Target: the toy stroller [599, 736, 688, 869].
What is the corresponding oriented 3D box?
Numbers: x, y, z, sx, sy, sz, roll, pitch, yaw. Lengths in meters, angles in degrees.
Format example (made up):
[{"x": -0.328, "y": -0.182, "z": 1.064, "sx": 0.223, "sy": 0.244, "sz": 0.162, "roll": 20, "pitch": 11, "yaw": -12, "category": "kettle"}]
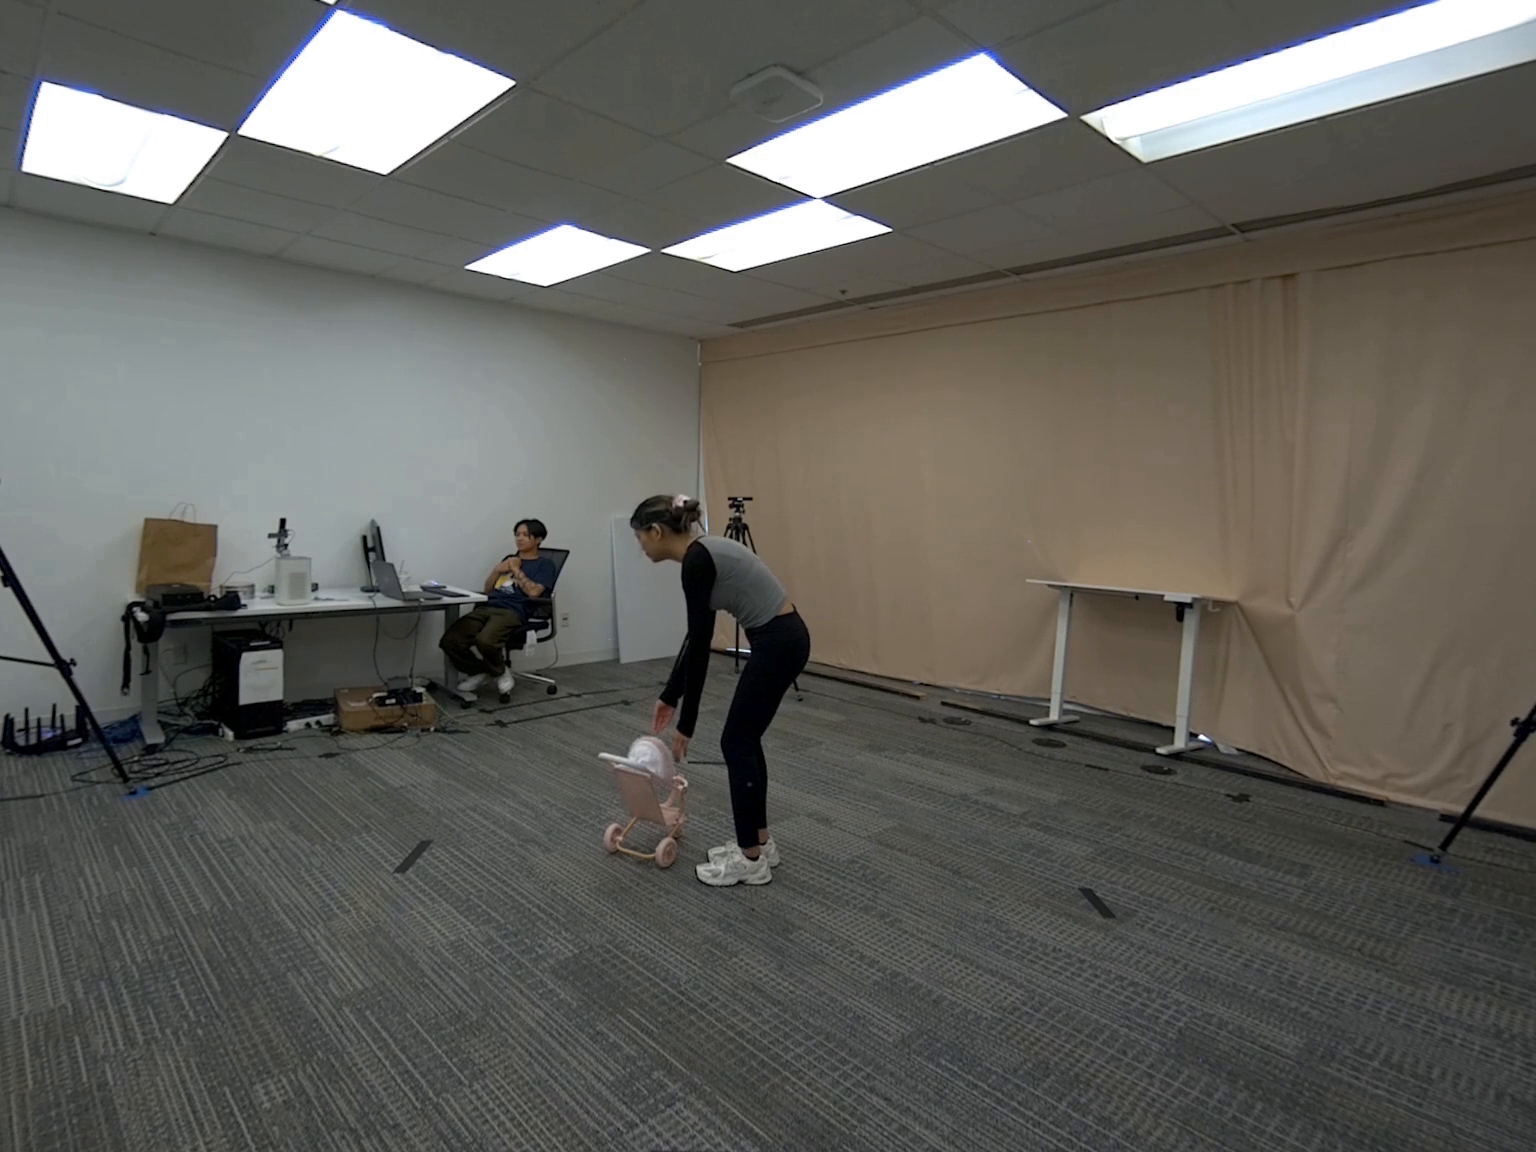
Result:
[{"x": -0.460, "y": 0.858, "z": 3.274, "sx": 0.288, "sy": 0.528, "sz": 0.338, "roll": 5, "pitch": 20, "yaw": 32, "category": "toy stroller"}]
